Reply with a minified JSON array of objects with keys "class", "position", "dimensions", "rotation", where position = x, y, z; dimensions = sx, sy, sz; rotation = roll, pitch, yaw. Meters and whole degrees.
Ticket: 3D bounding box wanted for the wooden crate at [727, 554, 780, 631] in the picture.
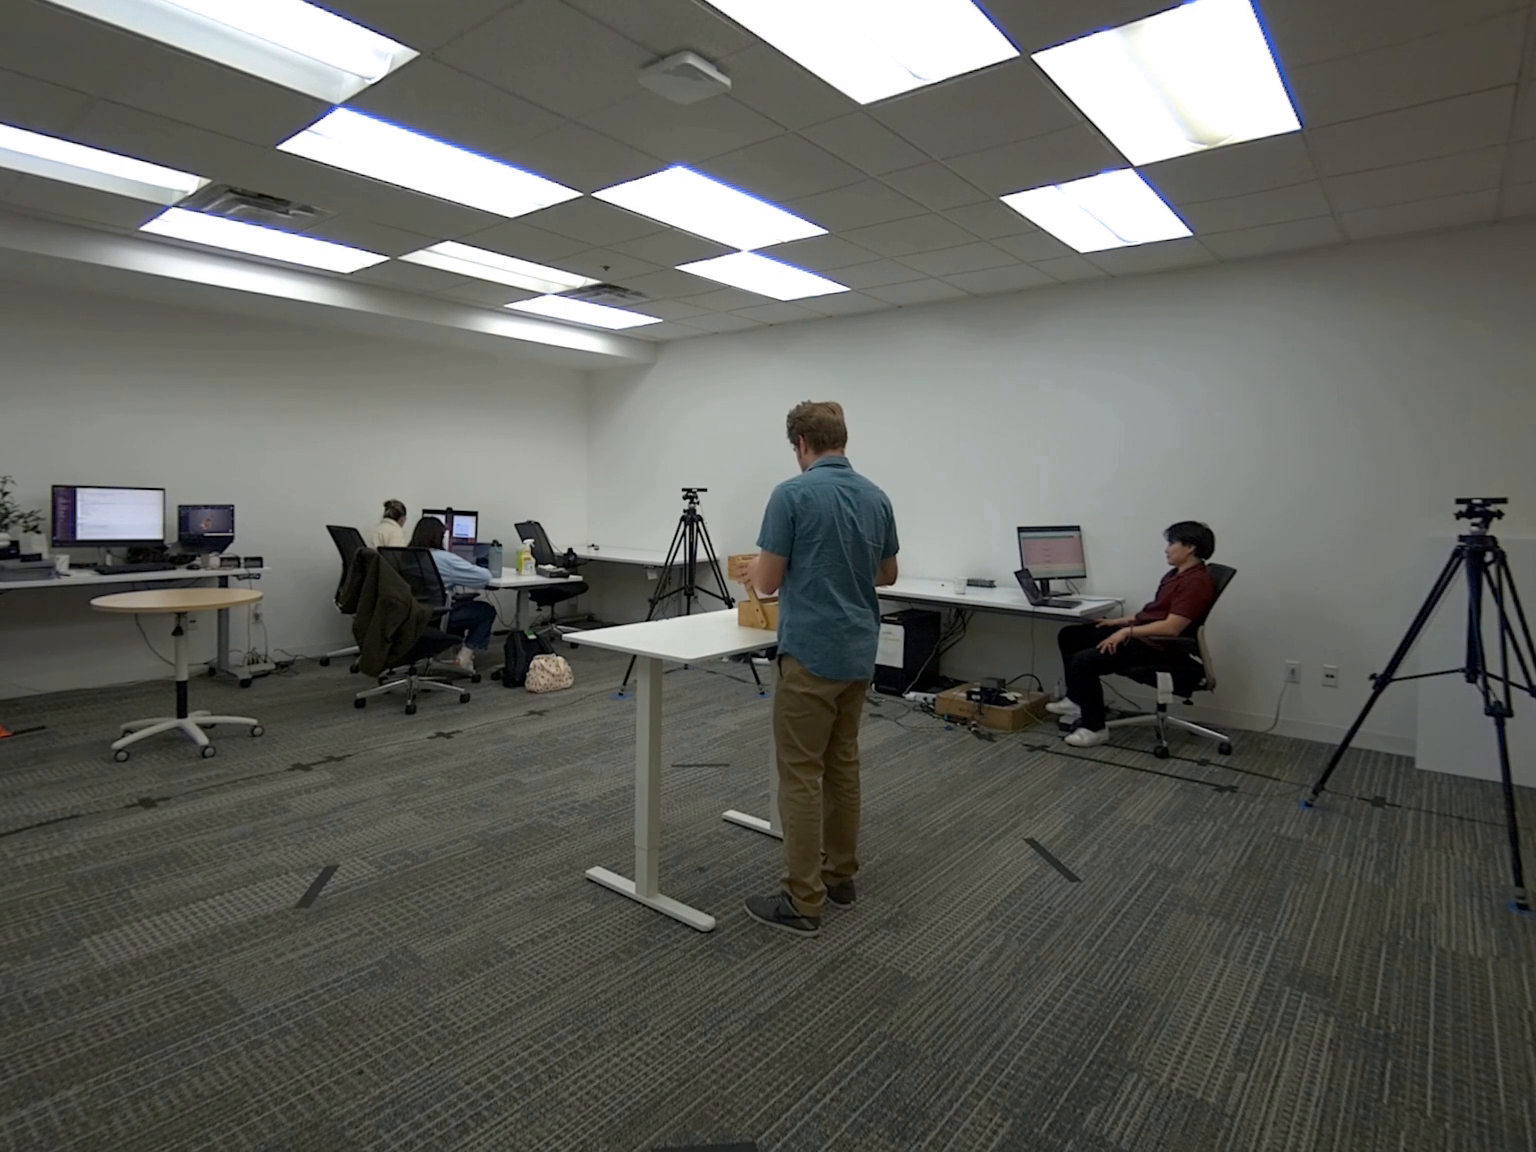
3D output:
[{"class":"wooden crate","position":[0.050,0.047,3.211],"dimensions":[0.312,0.272,0.315],"rotation":[4,5,40]}]
